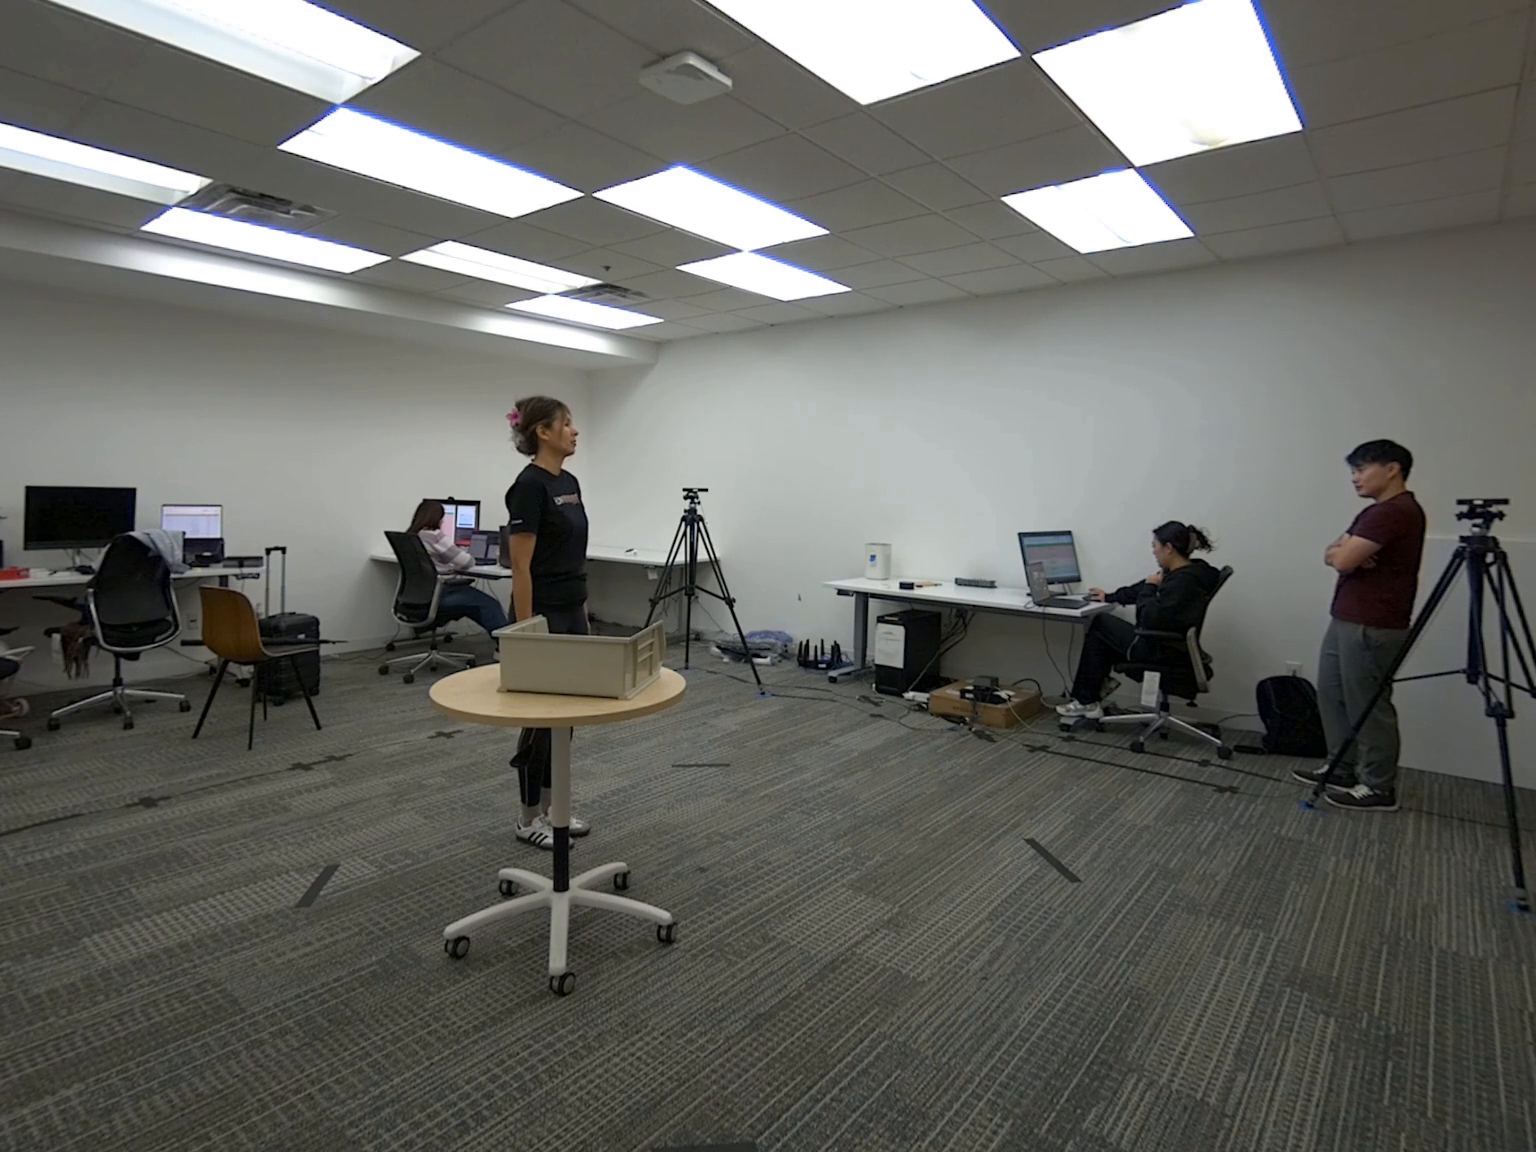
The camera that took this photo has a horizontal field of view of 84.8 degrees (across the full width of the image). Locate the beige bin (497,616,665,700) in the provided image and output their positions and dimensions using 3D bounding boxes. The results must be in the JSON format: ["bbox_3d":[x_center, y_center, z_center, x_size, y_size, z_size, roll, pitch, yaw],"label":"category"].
[{"bbox_3d":[-0.579,0.238,2.615,0.428,0.188,0.375,2,7,10],"label":"beige bin"}]
